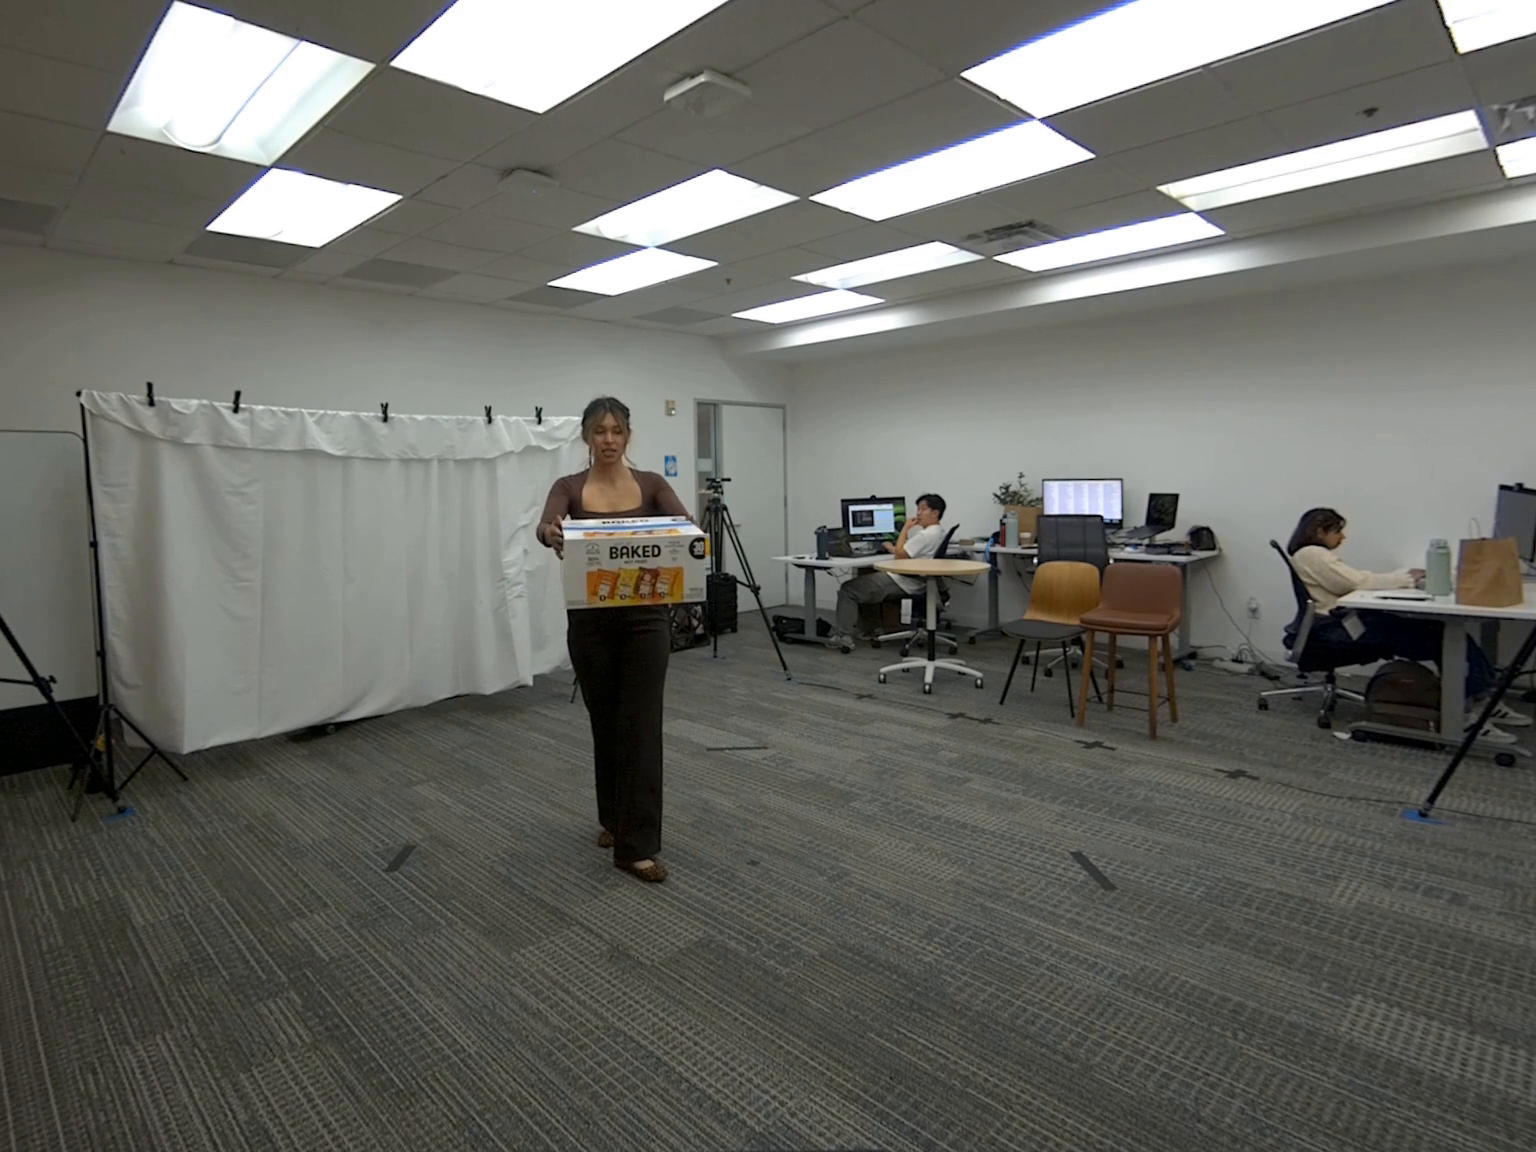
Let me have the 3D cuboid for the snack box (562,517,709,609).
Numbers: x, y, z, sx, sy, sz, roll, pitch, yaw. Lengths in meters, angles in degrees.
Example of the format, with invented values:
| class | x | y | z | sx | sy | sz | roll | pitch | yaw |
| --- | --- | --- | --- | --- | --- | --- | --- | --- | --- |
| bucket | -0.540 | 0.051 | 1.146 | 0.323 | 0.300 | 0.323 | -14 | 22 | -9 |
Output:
| class | x | y | z | sx | sy | sz | roll | pitch | yaw |
| --- | --- | --- | --- | --- | --- | --- | --- | --- | --- |
| snack box | -0.418 | -0.049 | 2.586 | 0.400 | 0.204 | 0.348 | -3 | 12 | -14 |
